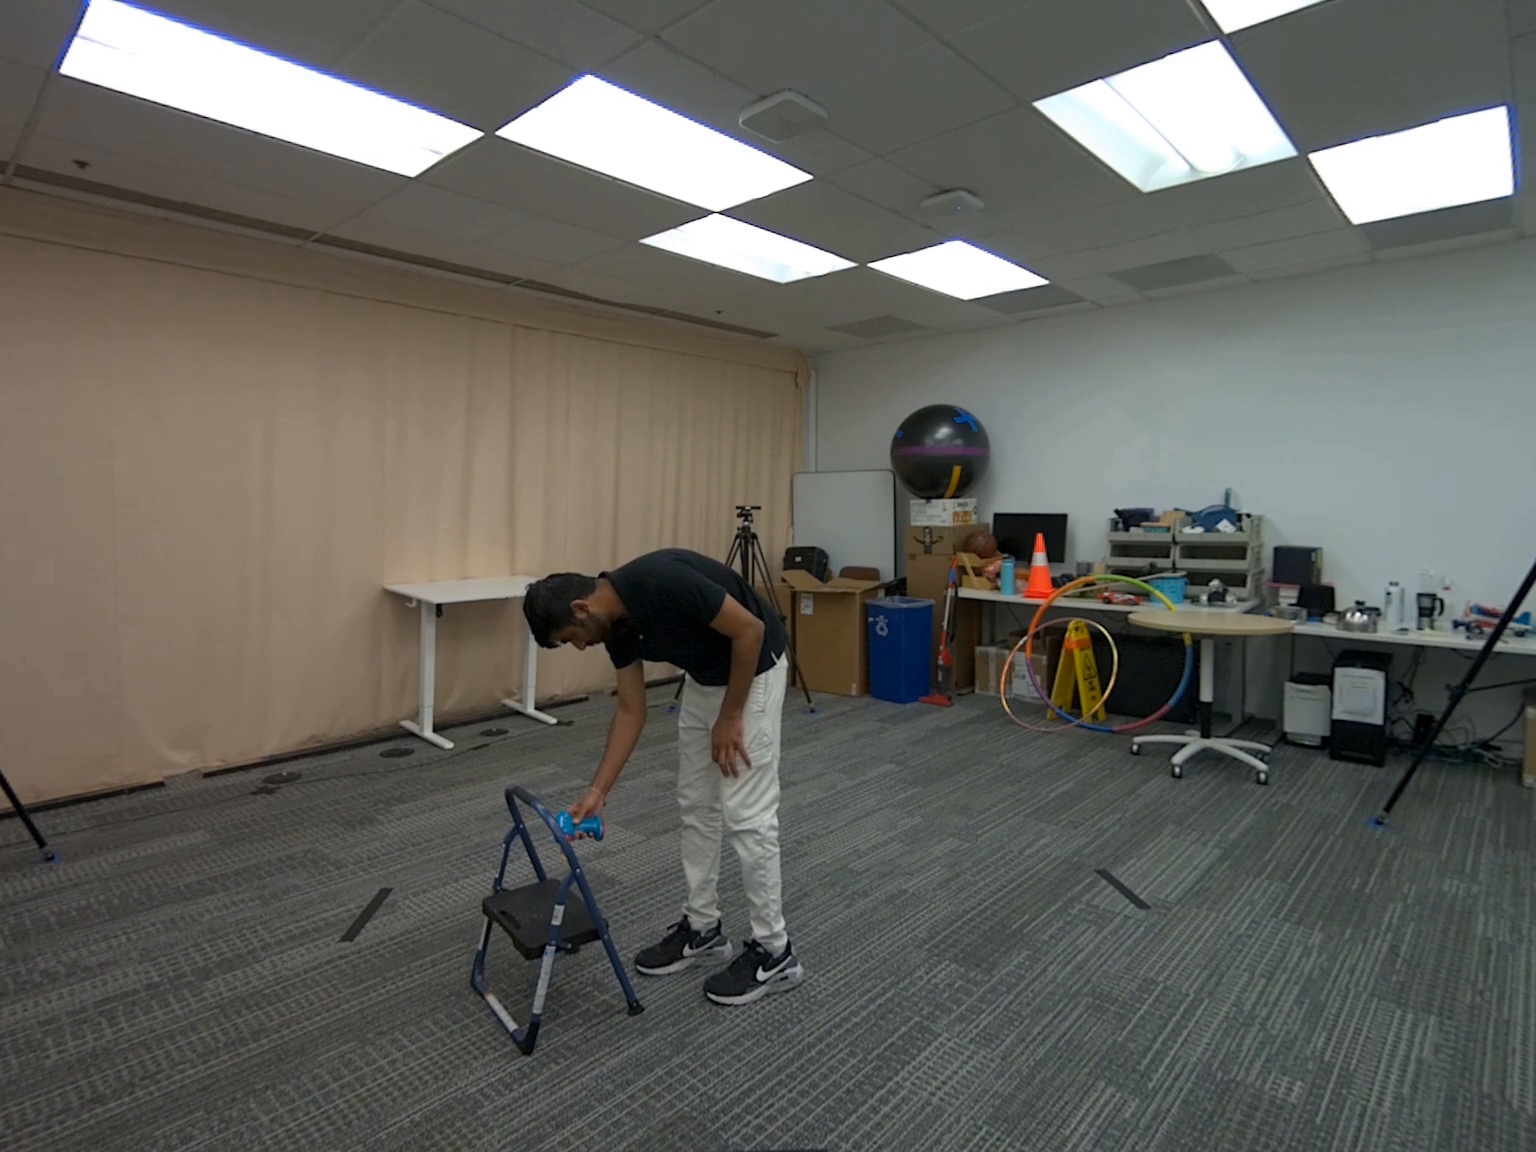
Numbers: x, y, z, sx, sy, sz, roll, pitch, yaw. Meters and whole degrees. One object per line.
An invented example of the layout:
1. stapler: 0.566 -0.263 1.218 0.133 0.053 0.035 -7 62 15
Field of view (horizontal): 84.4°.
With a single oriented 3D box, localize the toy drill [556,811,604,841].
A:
1. toy drill: -0.521 0.736 2.355 0.143 0.061 0.174 11 30 -21
